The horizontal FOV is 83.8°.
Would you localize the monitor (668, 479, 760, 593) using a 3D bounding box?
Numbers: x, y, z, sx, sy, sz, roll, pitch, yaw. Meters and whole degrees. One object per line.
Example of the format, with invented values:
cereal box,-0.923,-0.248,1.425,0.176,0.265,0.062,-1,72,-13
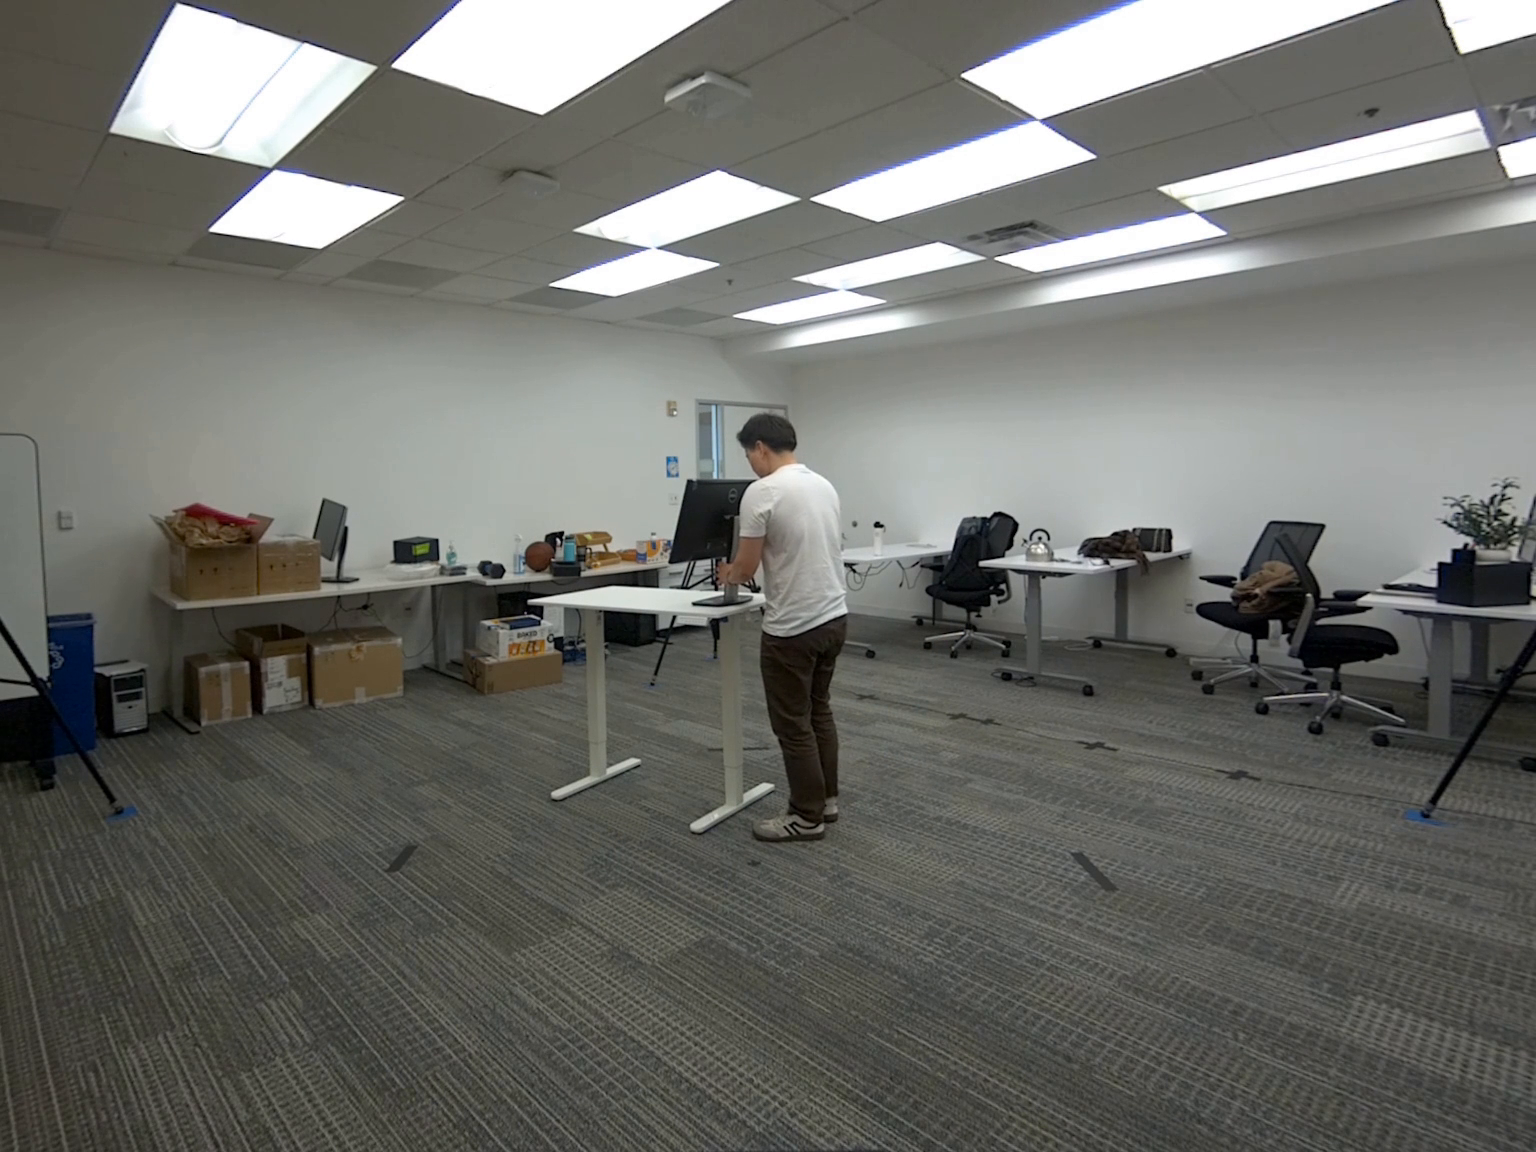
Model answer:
monitor,-0.170,-0.145,3.555,0.192,0.520,0.527,5,8,31
